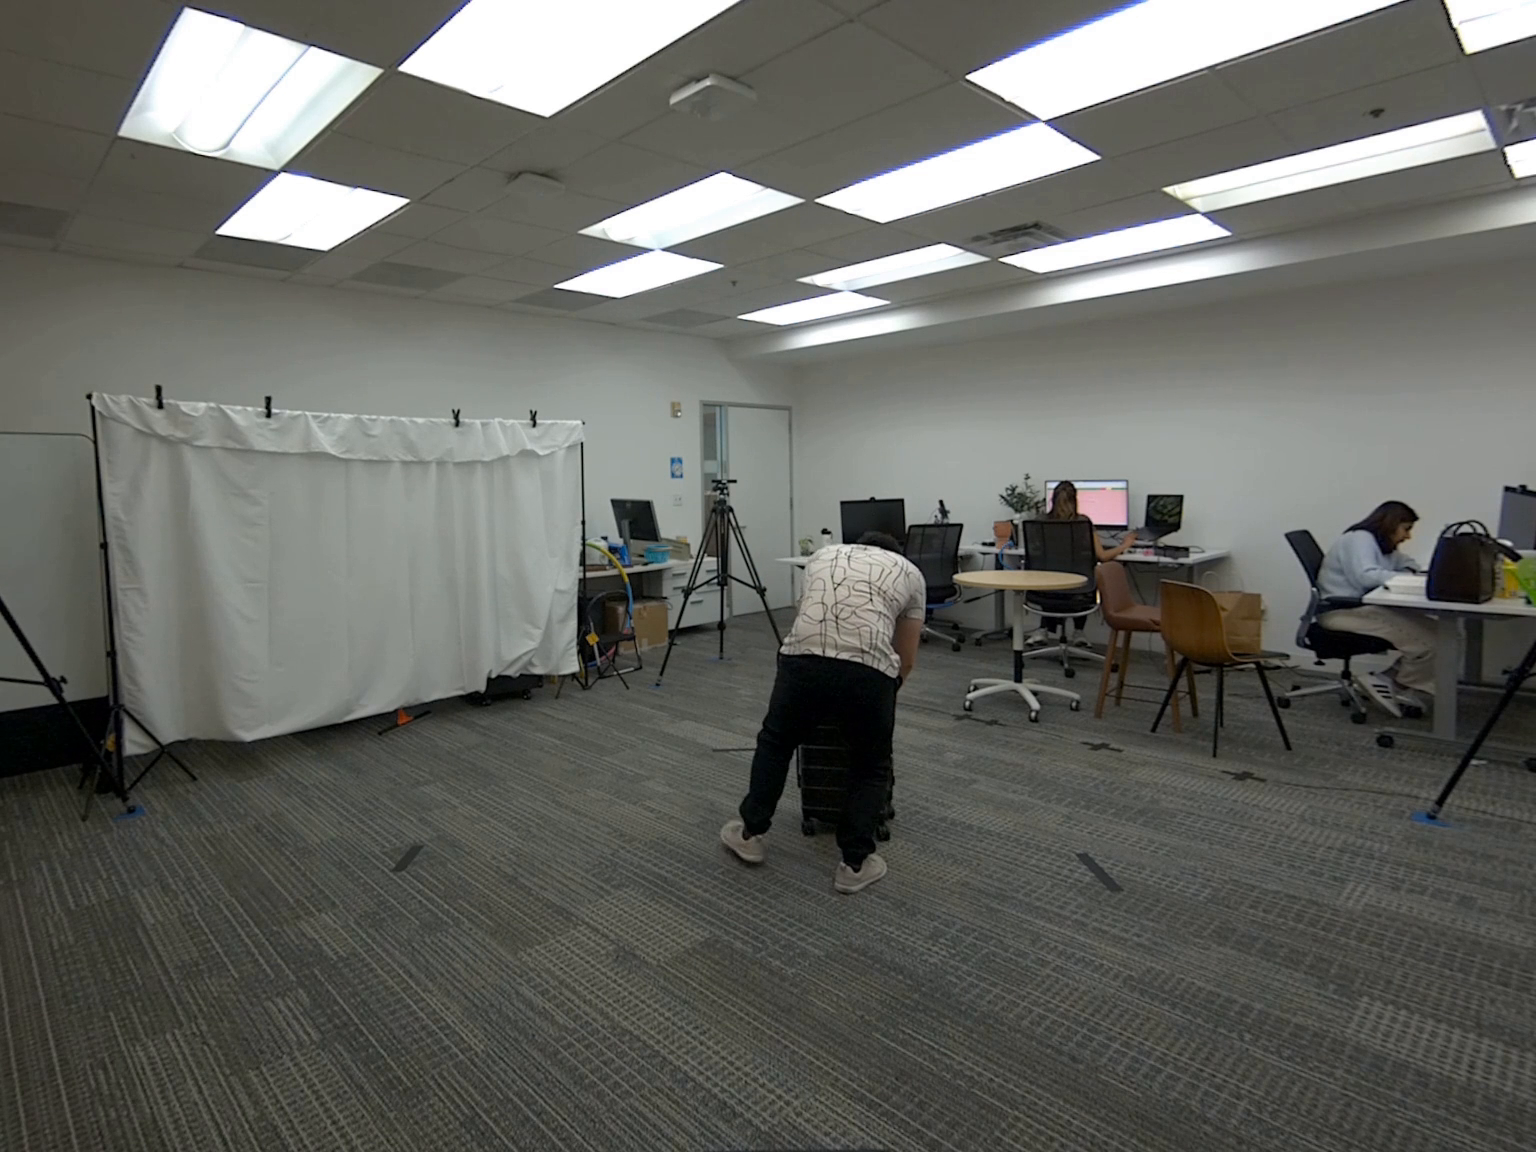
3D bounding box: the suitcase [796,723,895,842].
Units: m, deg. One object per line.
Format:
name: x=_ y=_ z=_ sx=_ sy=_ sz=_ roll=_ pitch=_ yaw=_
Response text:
suitcase: x=0.310 y=0.734 z=3.457 sx=0.381 sy=0.548 sz=0.245 roll=-1 pitch=2 yaw=14
